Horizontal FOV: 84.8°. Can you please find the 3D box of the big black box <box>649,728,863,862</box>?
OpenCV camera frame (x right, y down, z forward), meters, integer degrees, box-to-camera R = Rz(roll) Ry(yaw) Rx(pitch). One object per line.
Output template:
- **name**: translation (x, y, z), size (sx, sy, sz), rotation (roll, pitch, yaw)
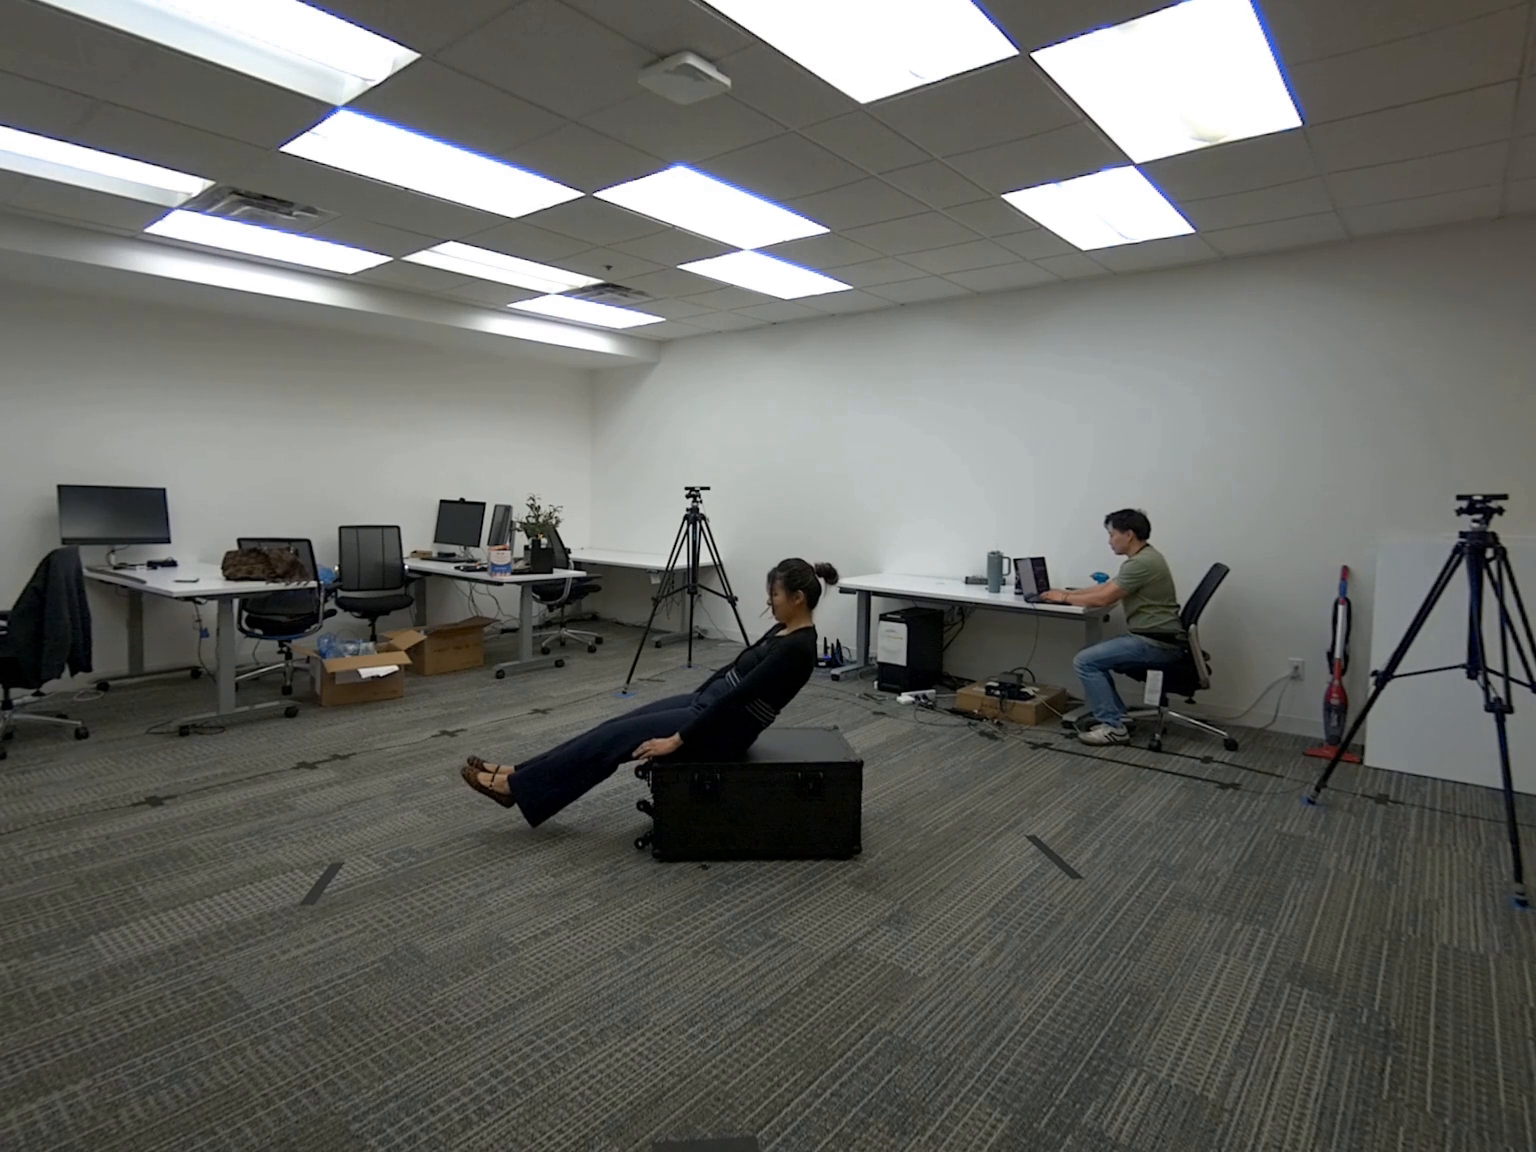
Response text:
- **big black box**: translation (-0.105, 0.844, 3.387), size (0.857, 0.395, 0.526), rotation (1, 5, -5)
